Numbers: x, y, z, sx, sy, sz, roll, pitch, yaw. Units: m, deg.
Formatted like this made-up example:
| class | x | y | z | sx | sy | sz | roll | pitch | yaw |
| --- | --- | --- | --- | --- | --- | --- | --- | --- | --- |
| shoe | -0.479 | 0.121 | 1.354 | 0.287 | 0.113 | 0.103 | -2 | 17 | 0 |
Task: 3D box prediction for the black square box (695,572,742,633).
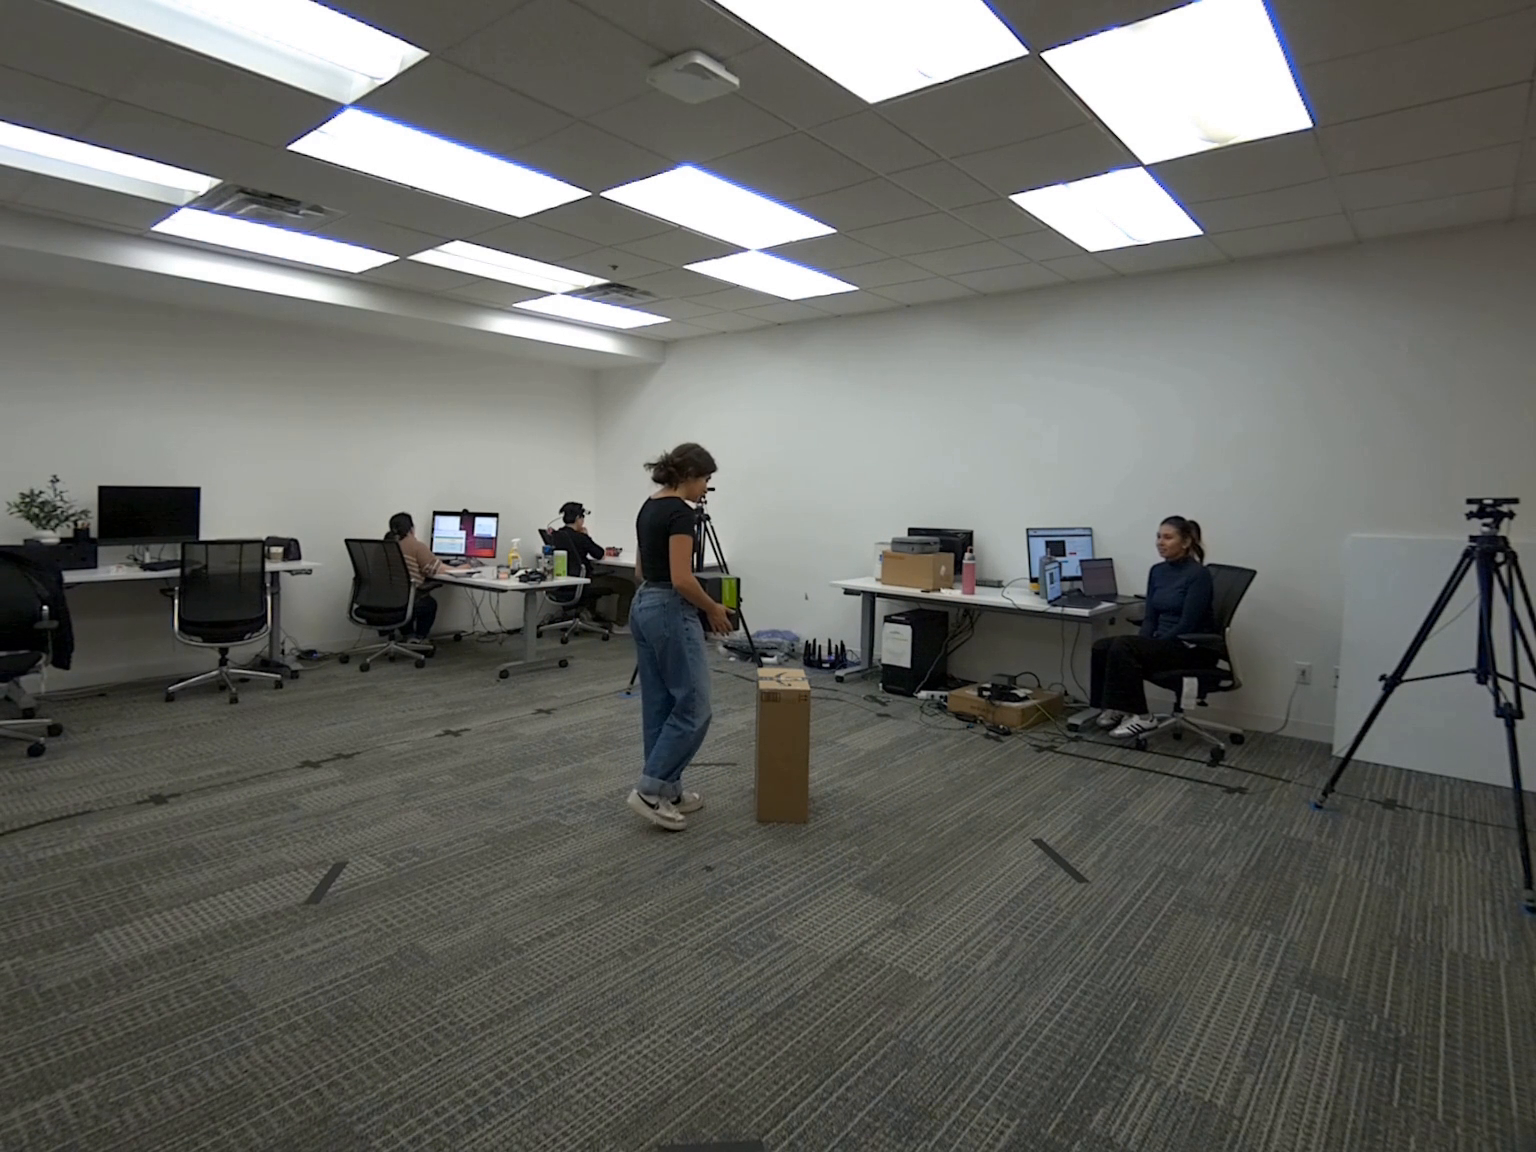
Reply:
| class | x | y | z | sx | sy | sz | roll | pitch | yaw |
| --- | --- | --- | --- | --- | --- | --- | --- | --- | --- |
| black square box | -0.238 | 0.109 | 3.643 | 0.152 | 0.227 | 0.223 | 0 | 4 | -26 |
